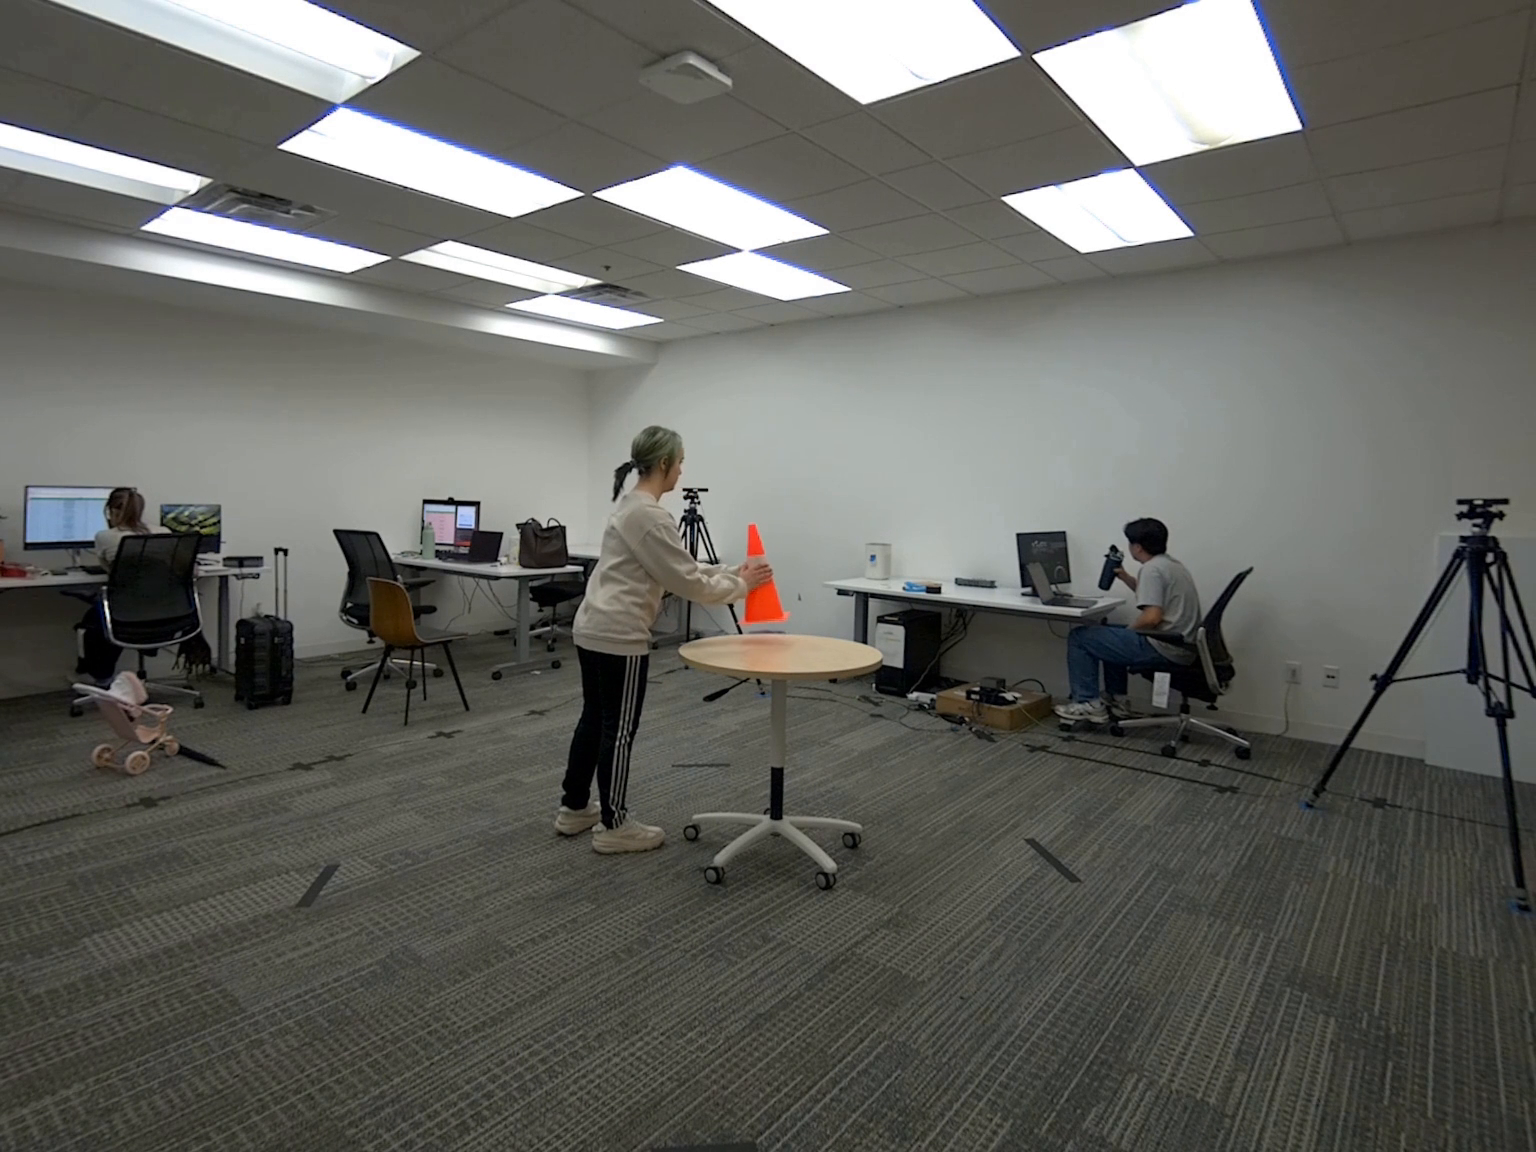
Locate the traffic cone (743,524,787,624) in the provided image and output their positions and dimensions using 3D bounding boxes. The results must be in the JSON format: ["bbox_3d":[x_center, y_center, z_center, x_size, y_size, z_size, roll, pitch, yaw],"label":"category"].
[{"bbox_3d":[-0.047,-0.018,3.402,0.208,0.382,0.201,-3,5,15],"label":"traffic cone"}]
